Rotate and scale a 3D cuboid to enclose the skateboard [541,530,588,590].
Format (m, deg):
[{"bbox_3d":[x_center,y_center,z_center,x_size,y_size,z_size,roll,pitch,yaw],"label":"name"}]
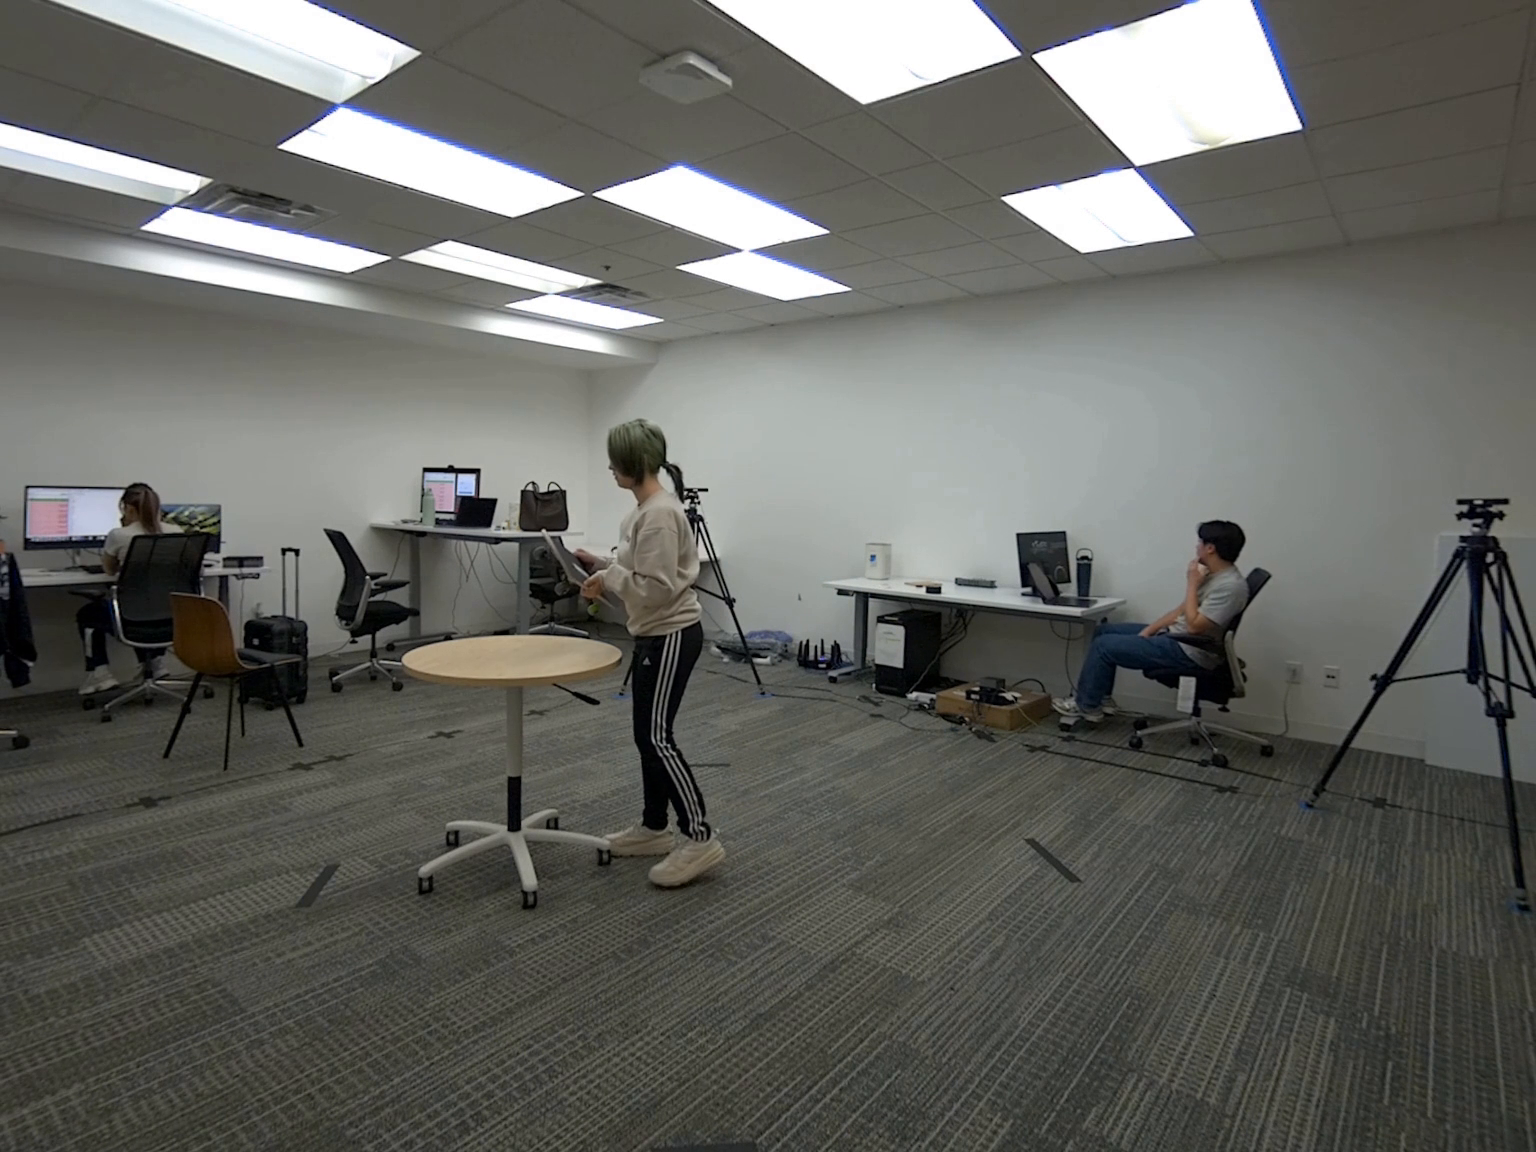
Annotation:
[{"bbox_3d":[-0.728,0.004,3.127,0.110,0.197,0.770,-33,-13,-3],"label":"skateboard"}]
